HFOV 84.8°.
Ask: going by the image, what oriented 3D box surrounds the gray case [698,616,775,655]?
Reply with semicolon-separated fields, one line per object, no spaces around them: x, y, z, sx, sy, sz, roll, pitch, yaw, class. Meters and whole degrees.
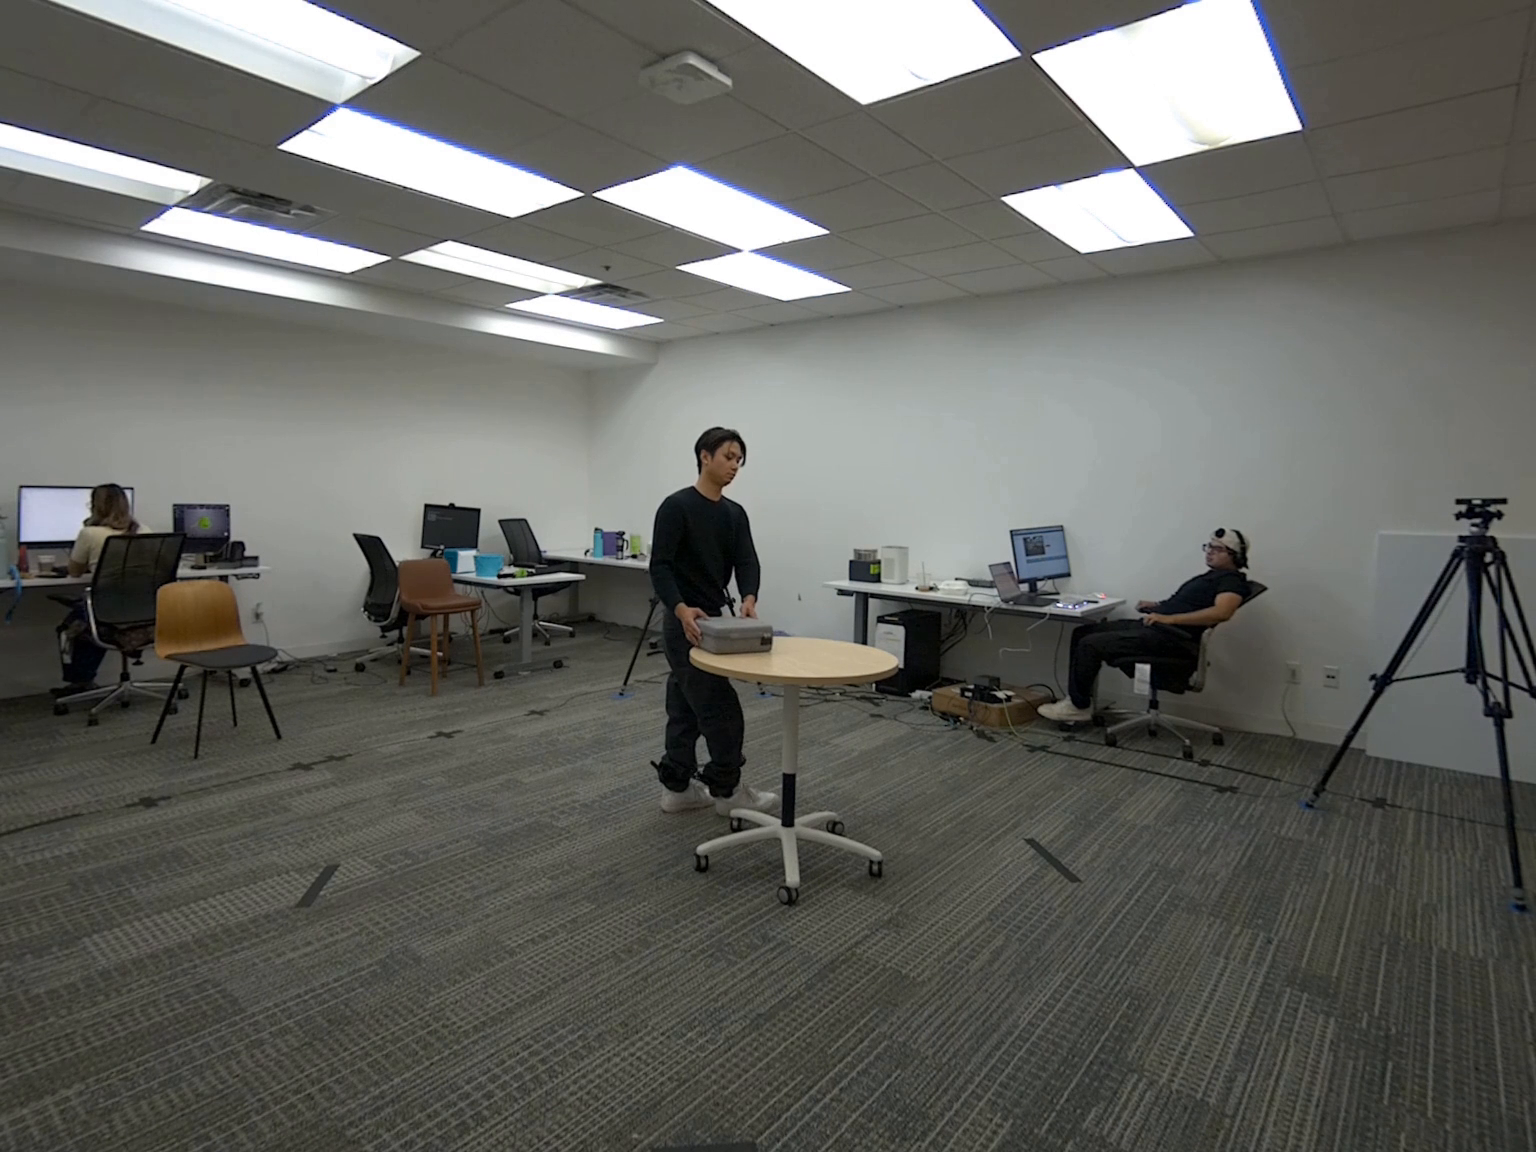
-0.122;0.223;3.245;0.251;0.104;0.267;-2;6;-23;gray case
